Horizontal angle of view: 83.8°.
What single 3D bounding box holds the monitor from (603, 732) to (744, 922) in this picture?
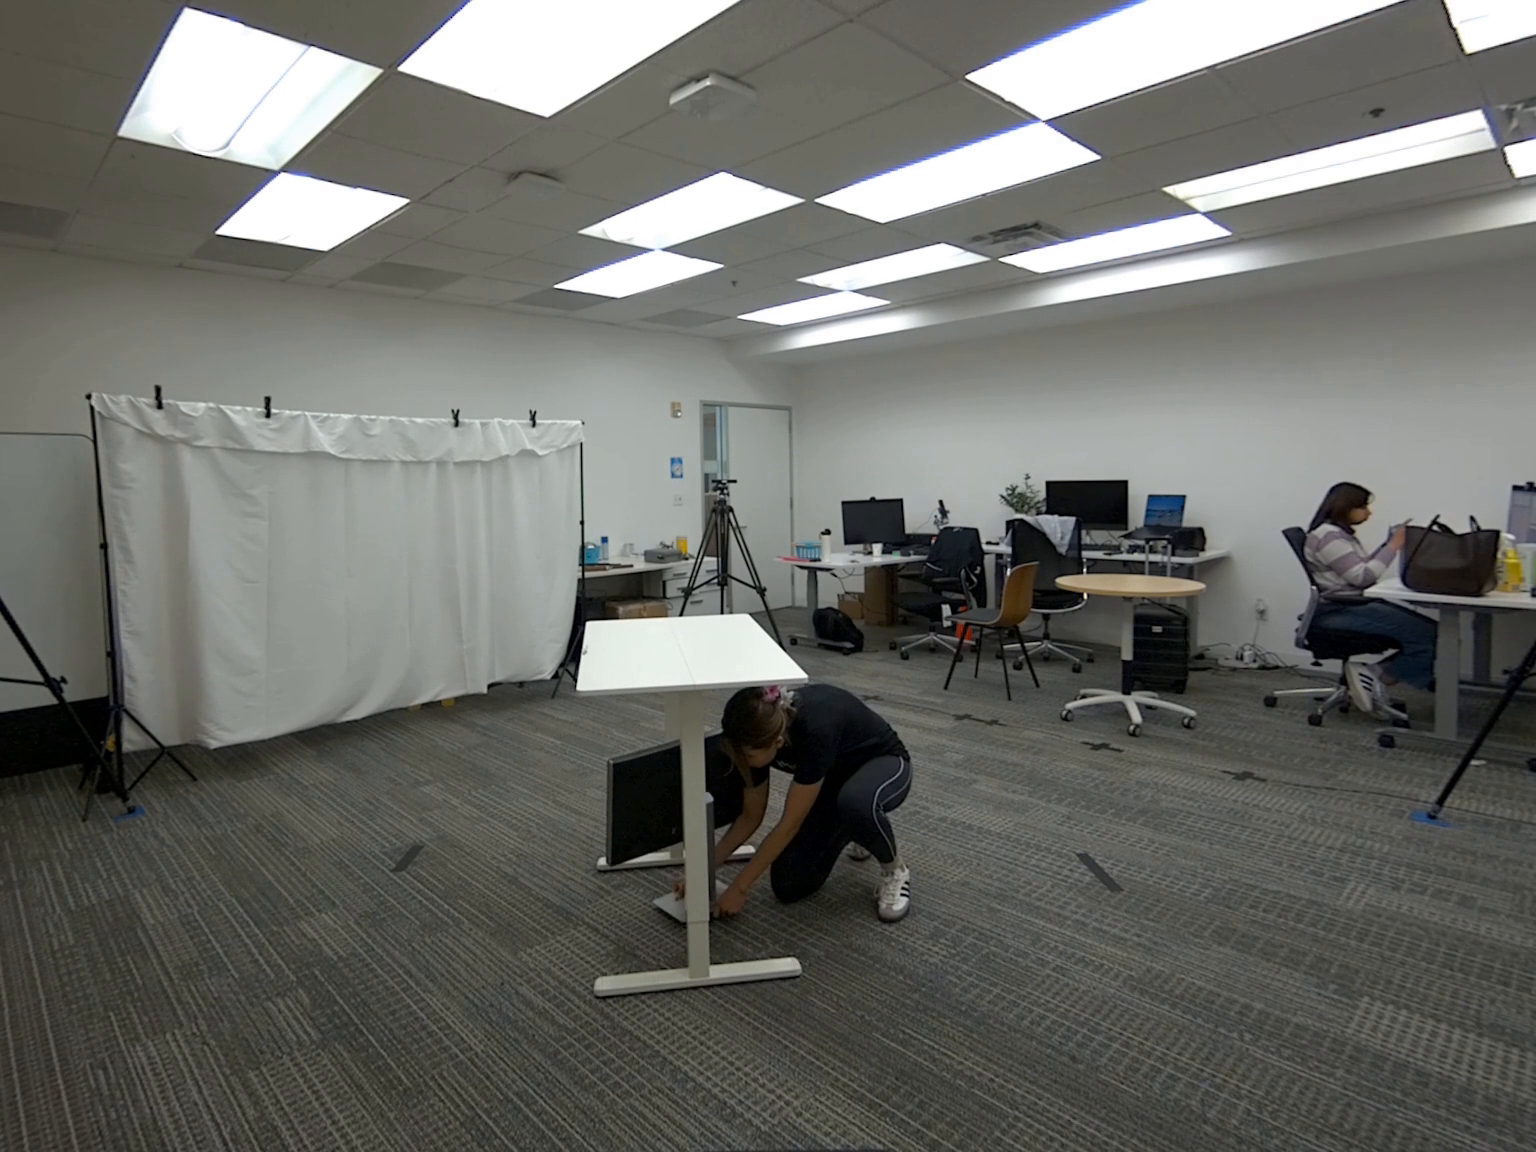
[{"bbox_3d":[-0.248,0.793,2.770,0.526,0.521,0.192,-8,5,-38],"label":"monitor"}]
